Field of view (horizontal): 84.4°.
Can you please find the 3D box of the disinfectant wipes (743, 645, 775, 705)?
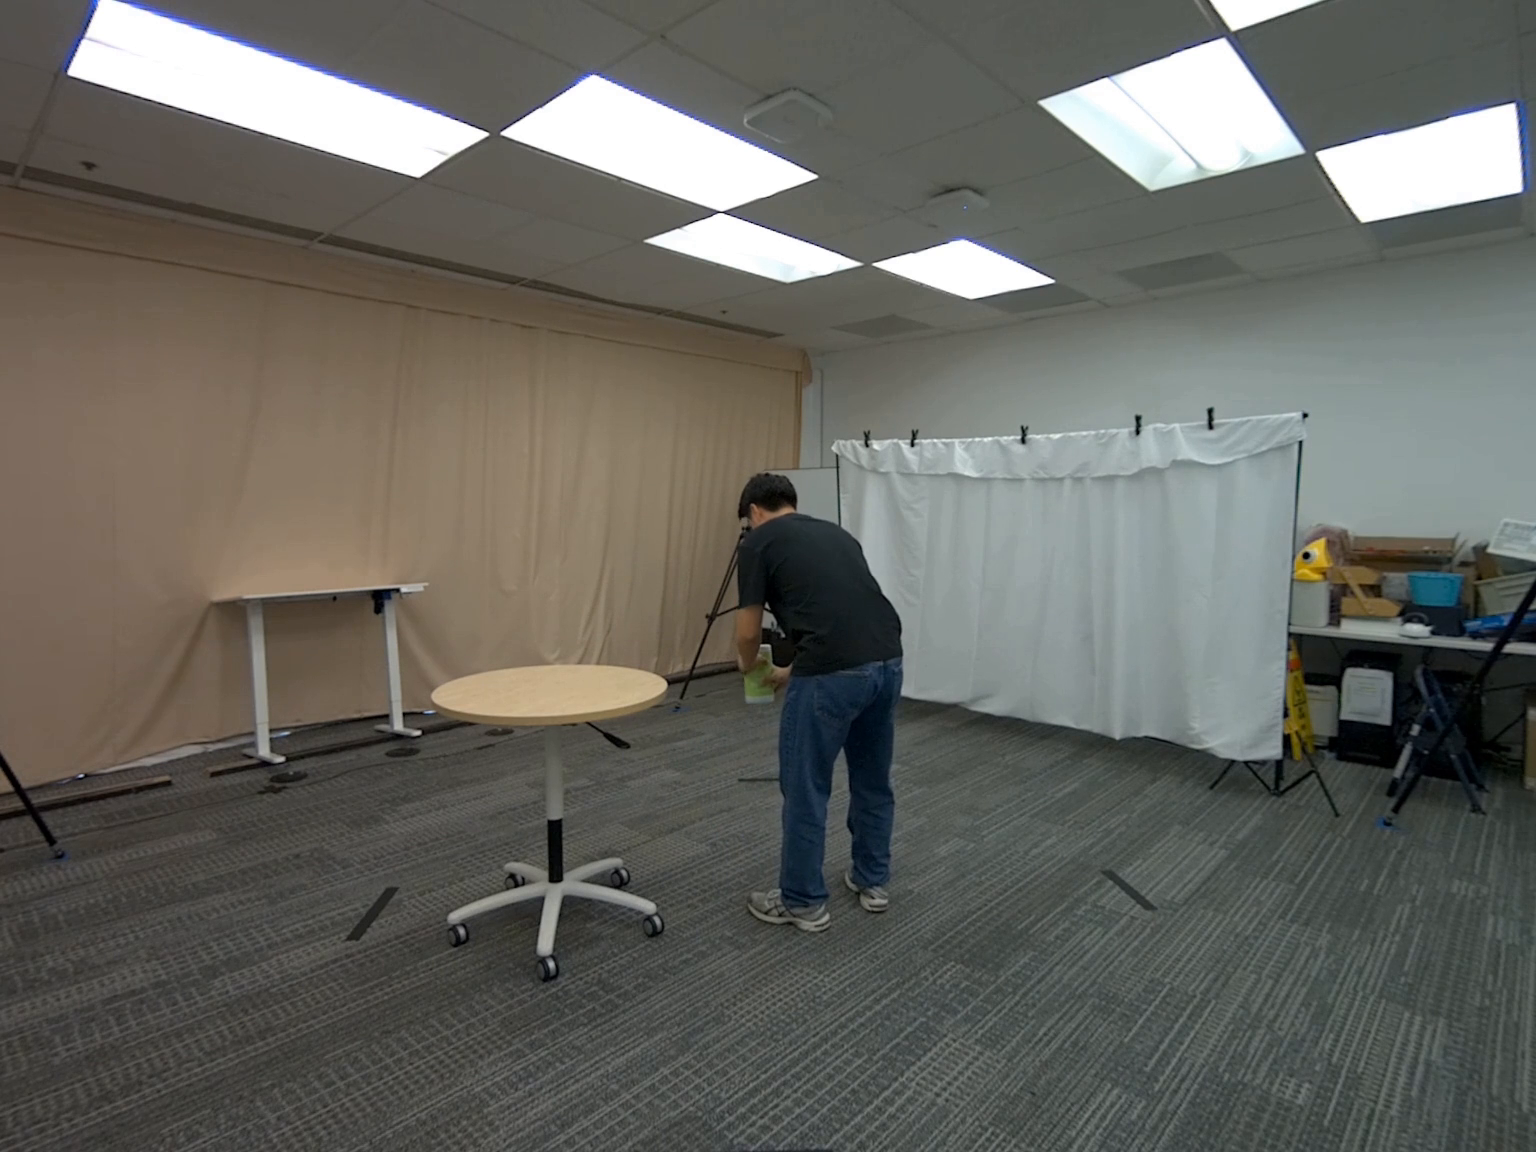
[{"bbox_3d":[-0.031,0.373,3.202,0.117,0.218,0.117,-2,-4,-2],"label":"disinfectant wipes"}]
